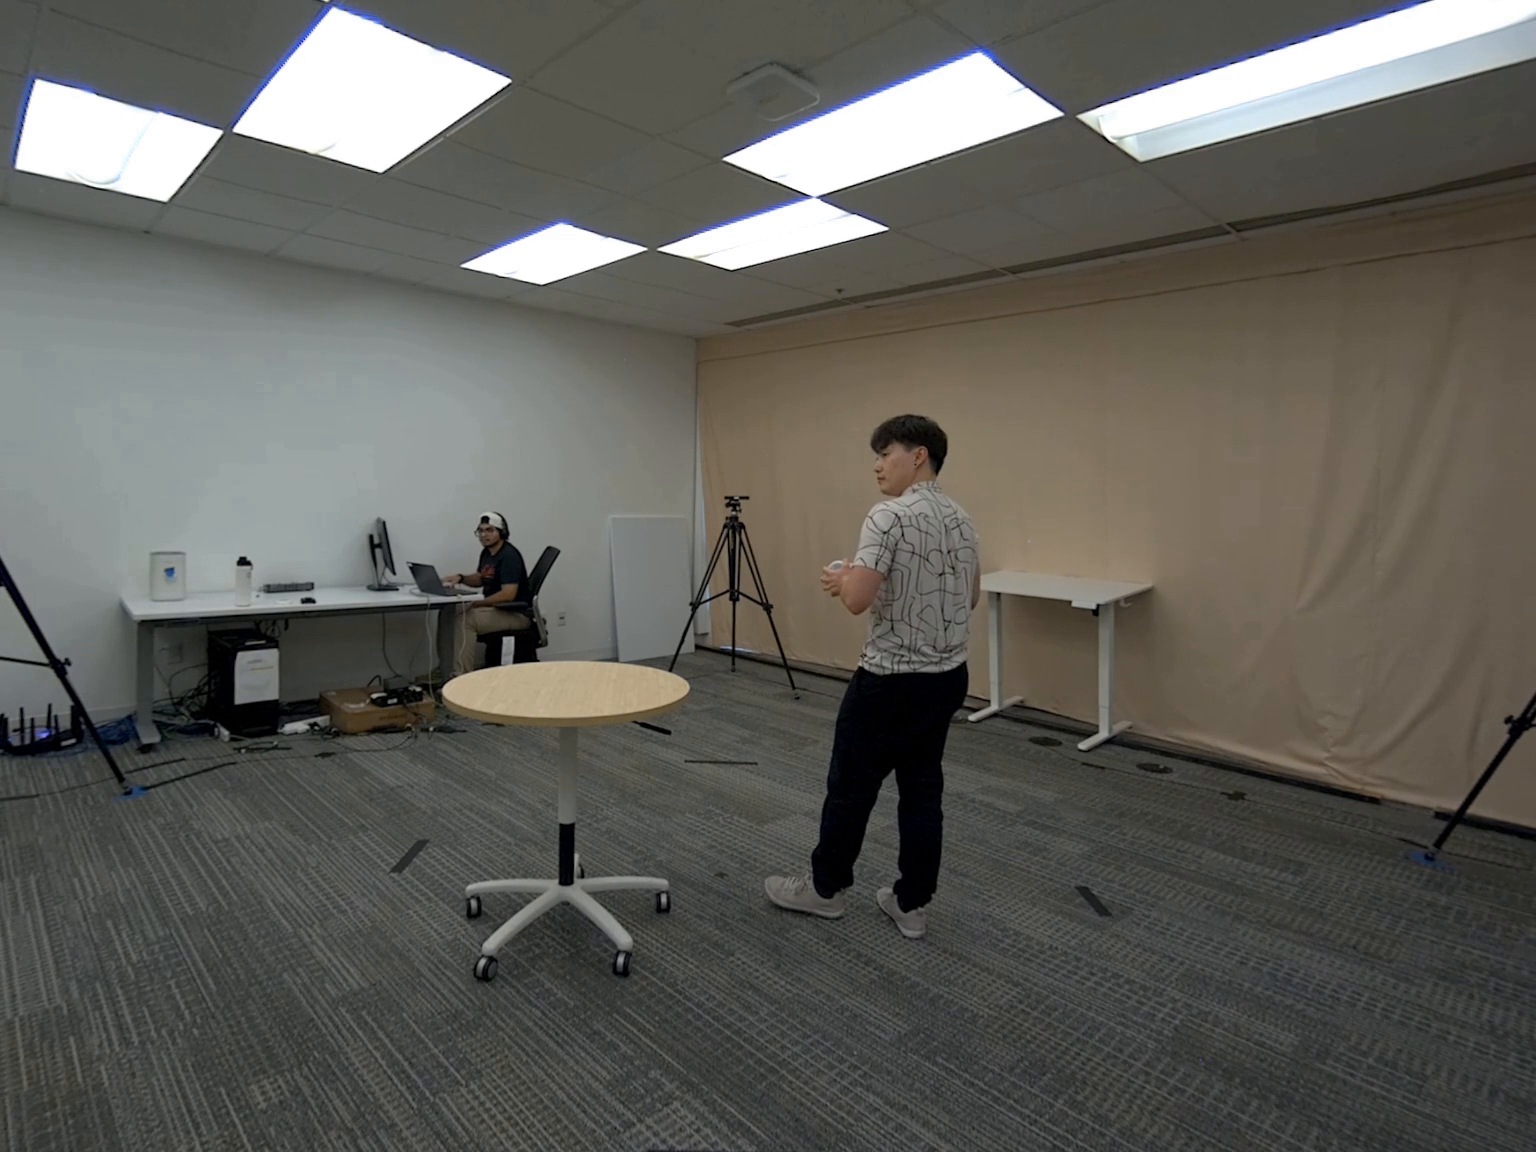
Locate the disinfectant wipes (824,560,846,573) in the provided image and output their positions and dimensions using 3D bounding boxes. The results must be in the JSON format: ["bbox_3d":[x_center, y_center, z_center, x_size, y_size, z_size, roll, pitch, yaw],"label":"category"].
[{"bbox_3d":[0.299,0.017,2.898,0.121,0.118,0.211,5,-4,41],"label":"disinfectant wipes"}]
